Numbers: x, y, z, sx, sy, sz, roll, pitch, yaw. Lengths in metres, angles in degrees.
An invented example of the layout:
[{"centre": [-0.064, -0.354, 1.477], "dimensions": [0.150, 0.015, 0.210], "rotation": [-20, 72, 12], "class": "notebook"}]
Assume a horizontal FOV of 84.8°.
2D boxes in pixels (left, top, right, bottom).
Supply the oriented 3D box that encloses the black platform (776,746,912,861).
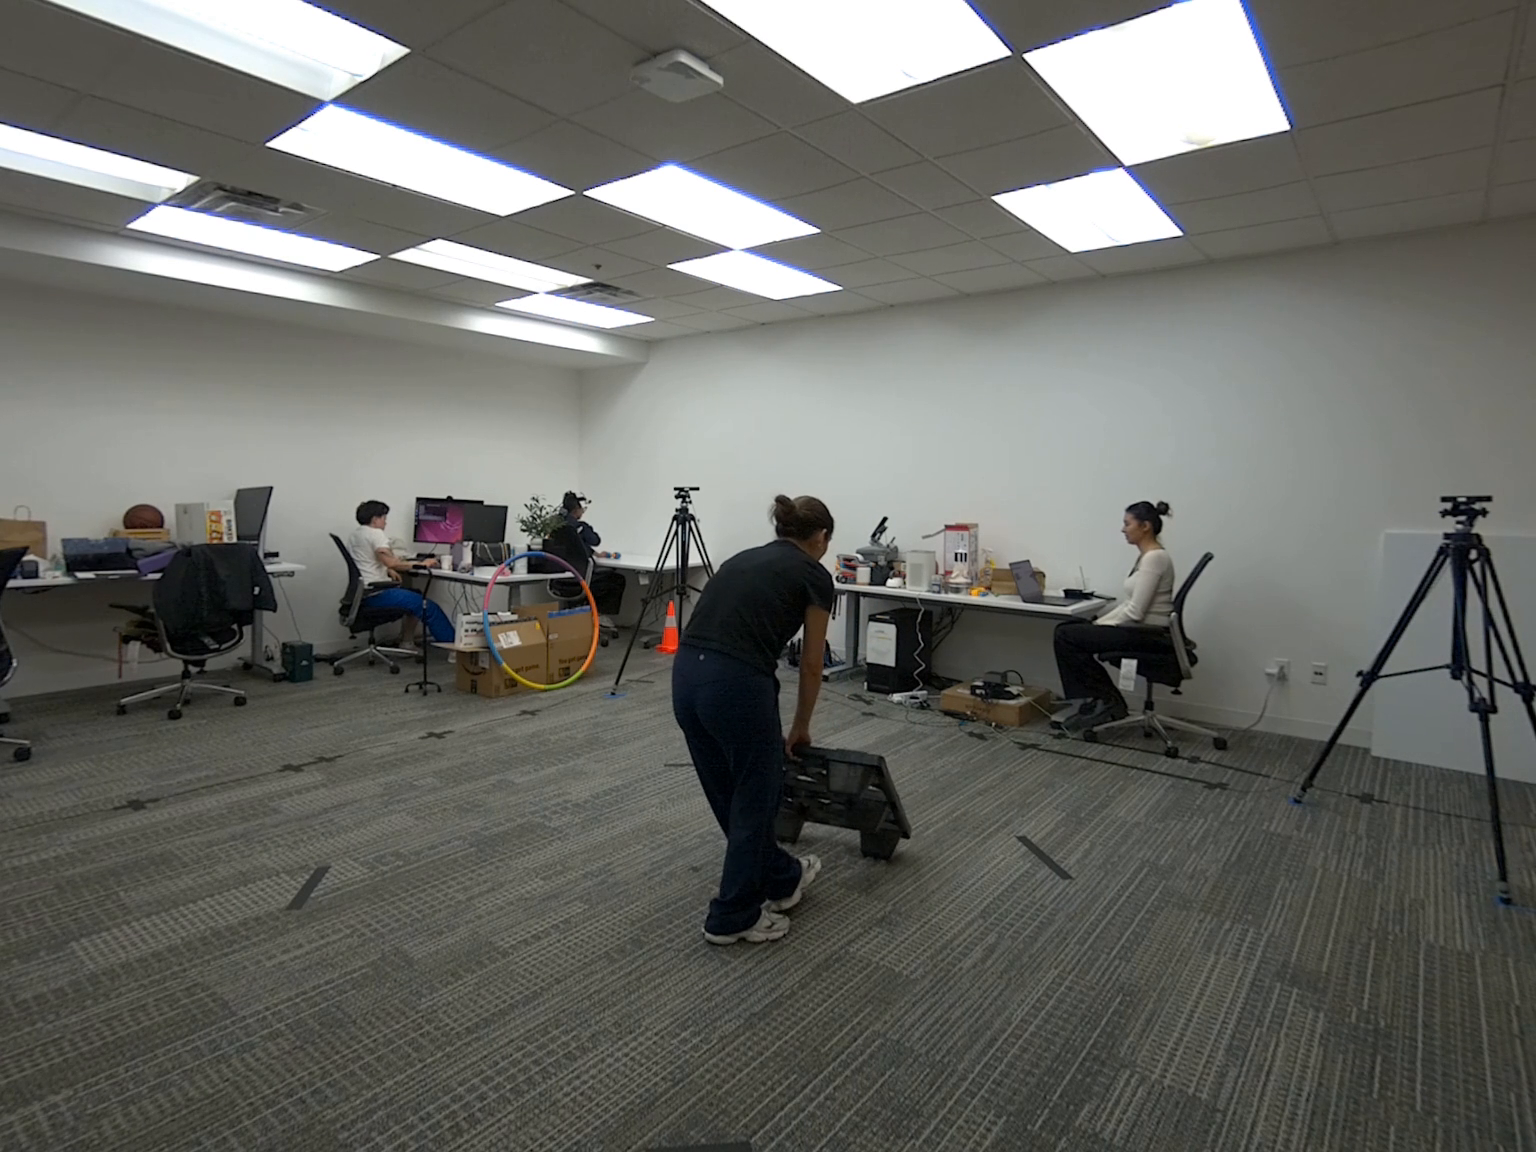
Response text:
[{"centre": [0.170, 0.801, 3.066], "dimensions": [0.619, 0.146, 0.774], "rotation": [3, -33, 22], "class": "black platform"}]
